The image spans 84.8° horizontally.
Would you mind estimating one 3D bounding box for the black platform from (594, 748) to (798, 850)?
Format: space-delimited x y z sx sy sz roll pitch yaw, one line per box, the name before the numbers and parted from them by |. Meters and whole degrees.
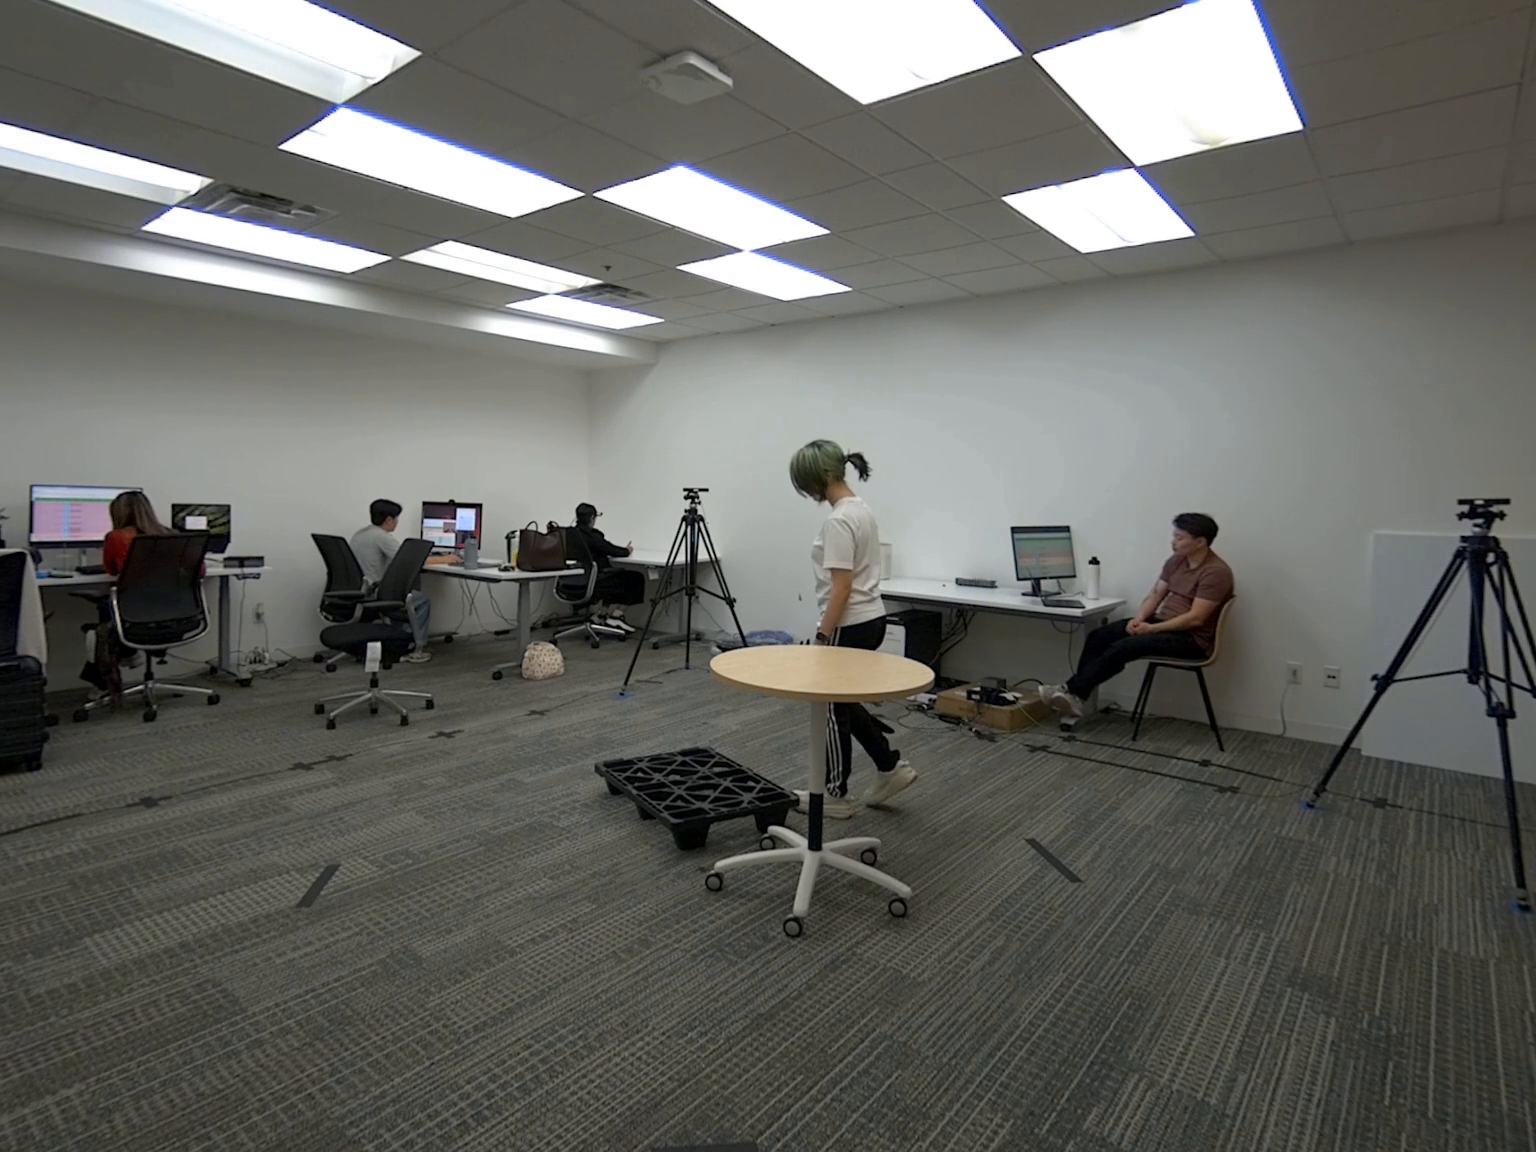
black platform | -0.340 0.942 3.692 0.588 0.143 0.831 -2 6 -32
